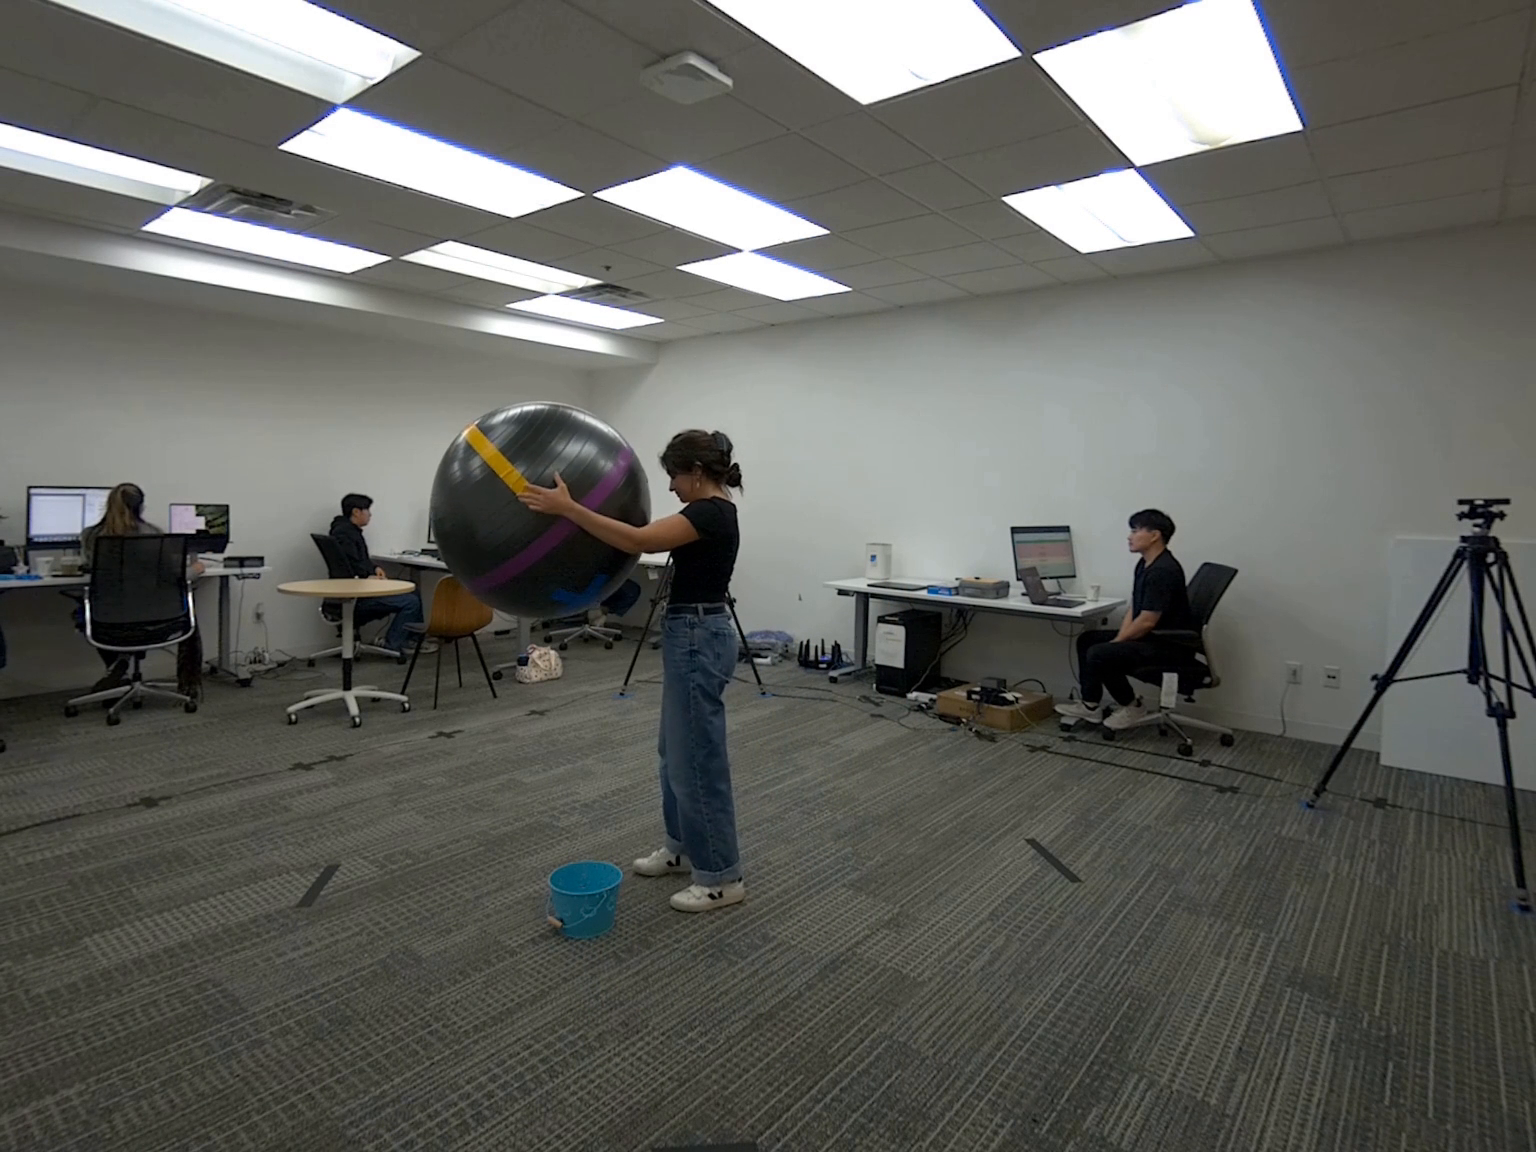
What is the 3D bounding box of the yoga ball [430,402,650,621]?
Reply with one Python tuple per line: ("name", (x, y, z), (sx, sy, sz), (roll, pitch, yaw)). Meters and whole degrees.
("yoga ball", (-0.812, -0.230, 2.976), (0.757, 0.755, 0.762), (1, 4, -2))
